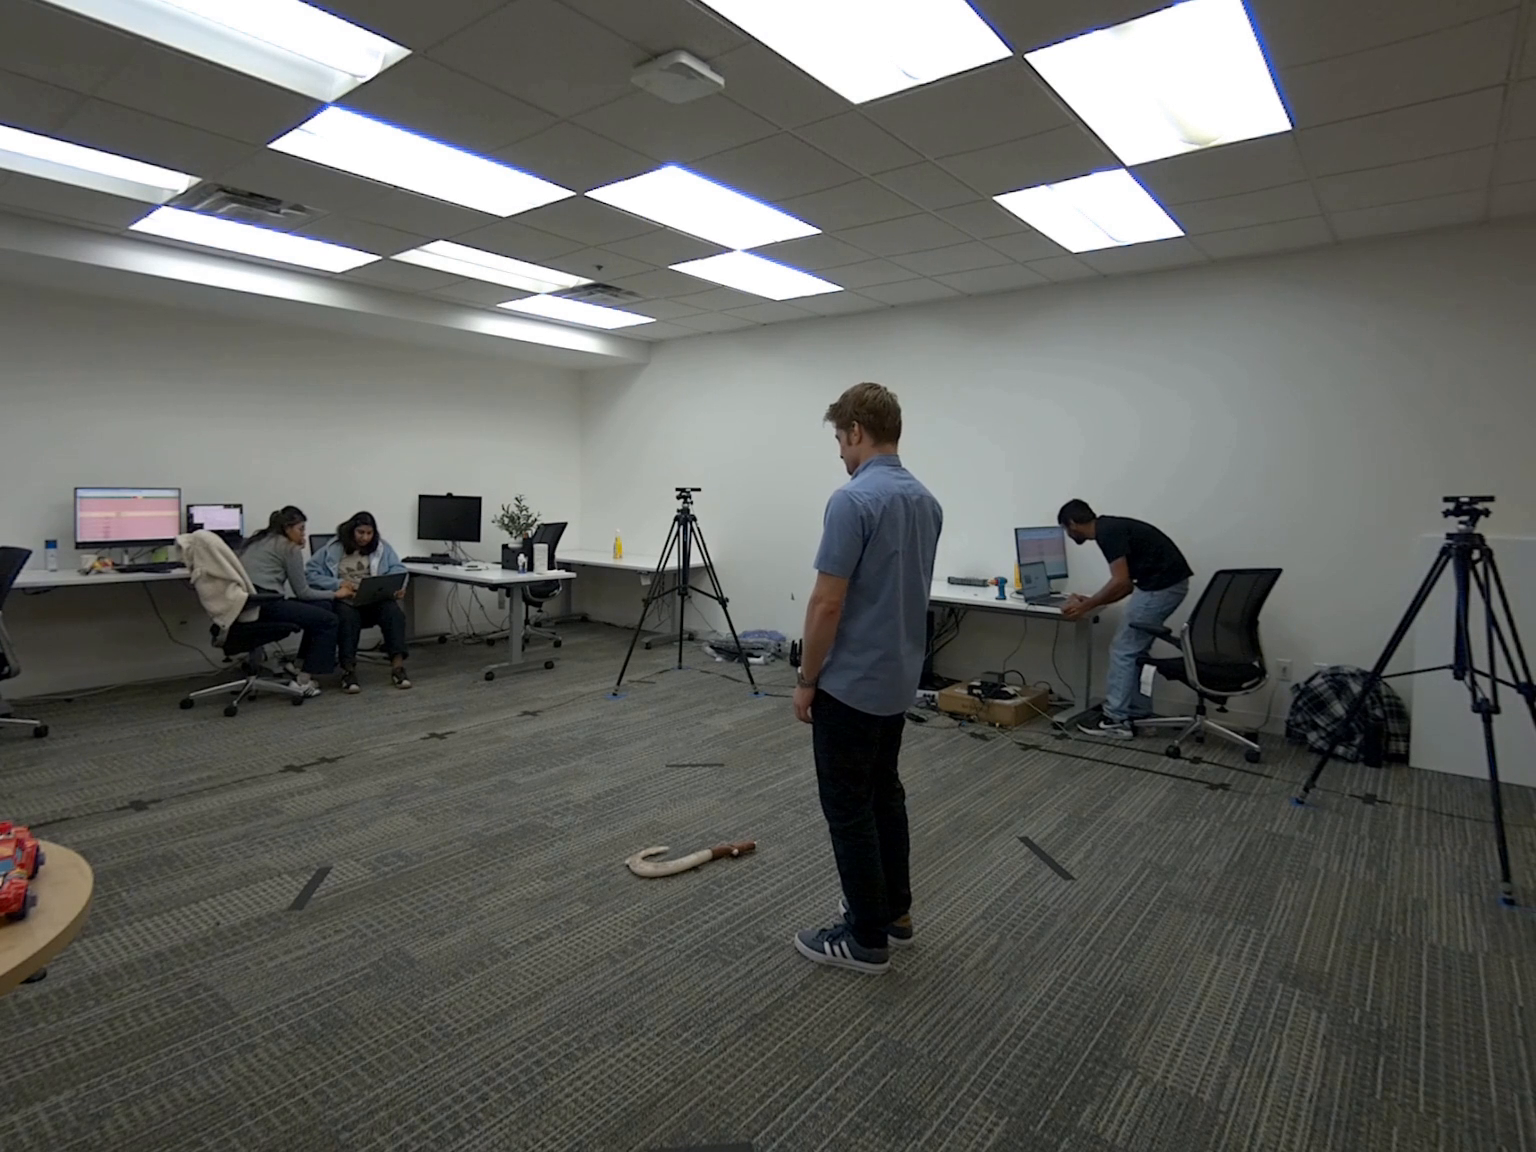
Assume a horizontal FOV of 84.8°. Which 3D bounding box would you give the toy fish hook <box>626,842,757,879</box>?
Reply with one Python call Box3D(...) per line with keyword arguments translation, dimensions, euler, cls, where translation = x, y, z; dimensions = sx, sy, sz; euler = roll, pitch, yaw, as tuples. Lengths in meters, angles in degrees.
Box3D(translation=(-0.293, 1.036, 3.195), dimensions=(0.494, 0.048, 0.231), euler=(-2, 8, -28), cls="toy fish hook")
